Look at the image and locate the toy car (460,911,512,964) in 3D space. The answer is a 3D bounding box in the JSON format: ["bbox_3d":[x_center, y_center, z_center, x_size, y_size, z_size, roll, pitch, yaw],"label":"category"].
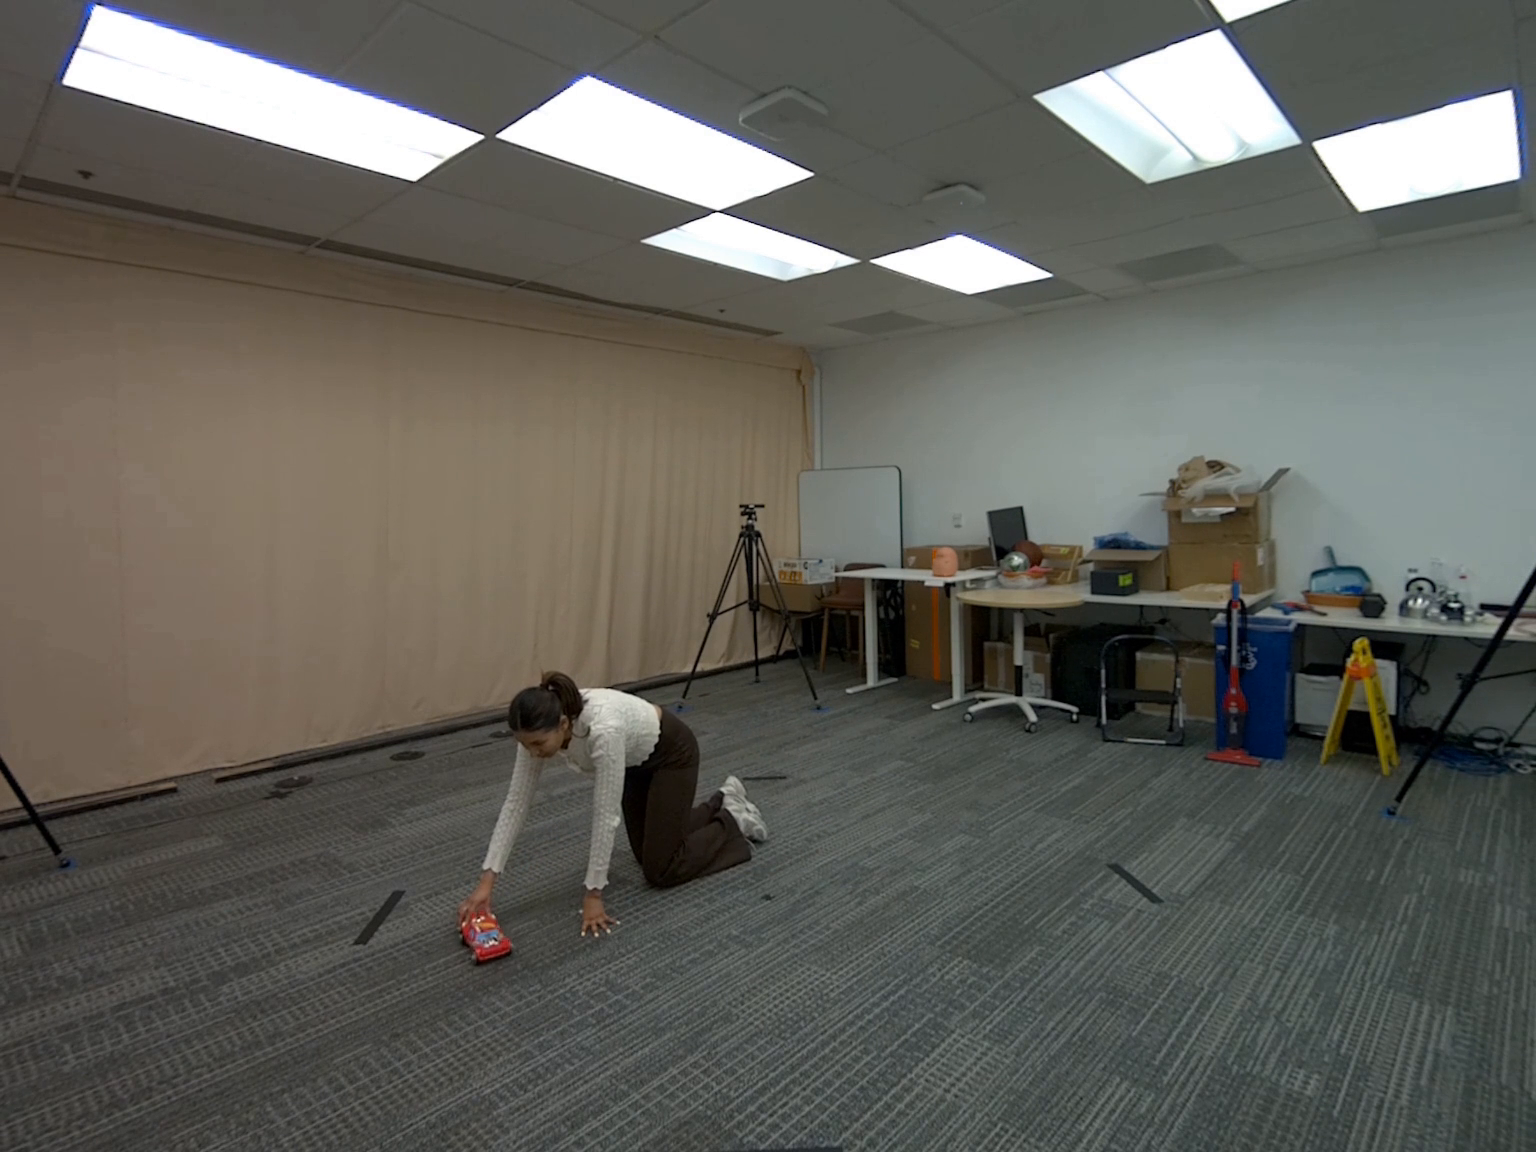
[{"bbox_3d":[-0.910,1.156,2.686,0.127,0.082,0.263,-6,16,-32],"label":"toy car"}]
